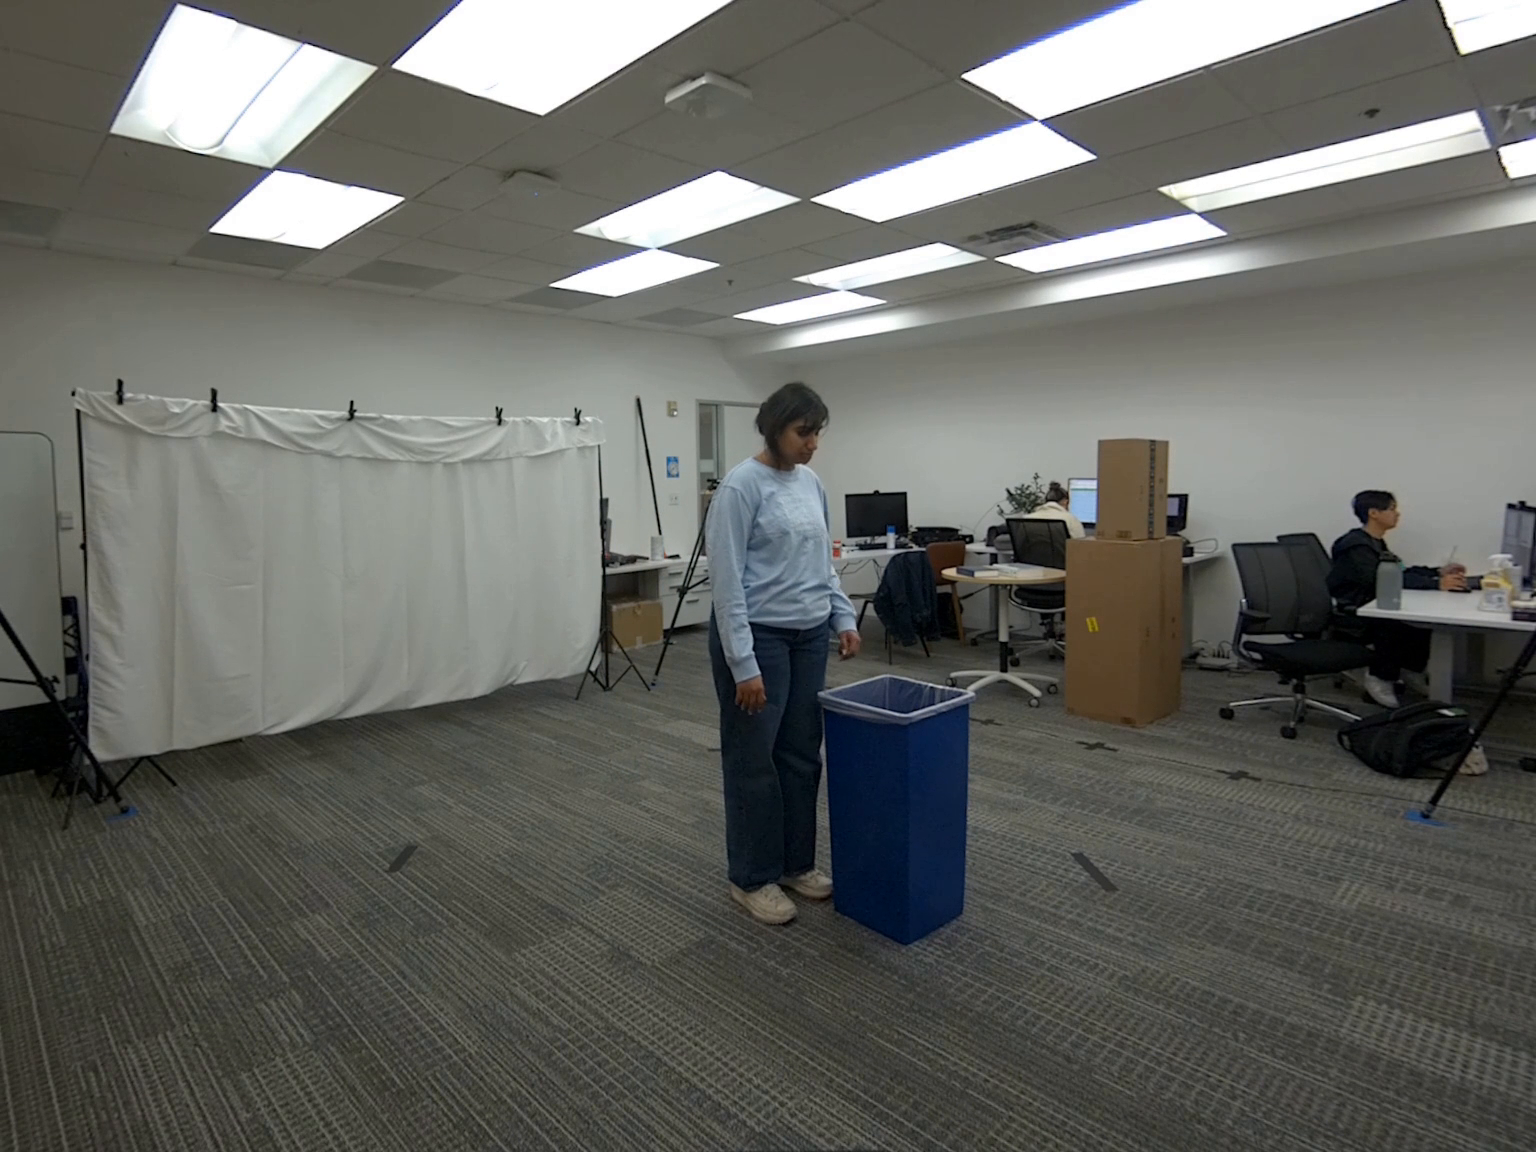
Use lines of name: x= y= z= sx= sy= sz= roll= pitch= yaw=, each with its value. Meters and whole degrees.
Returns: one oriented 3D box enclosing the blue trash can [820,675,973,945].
blue trash can: x=0.412 y=0.722 z=2.718 sx=0.364 sy=0.711 sz=0.389 roll=-4 pitch=5 yaw=-42
